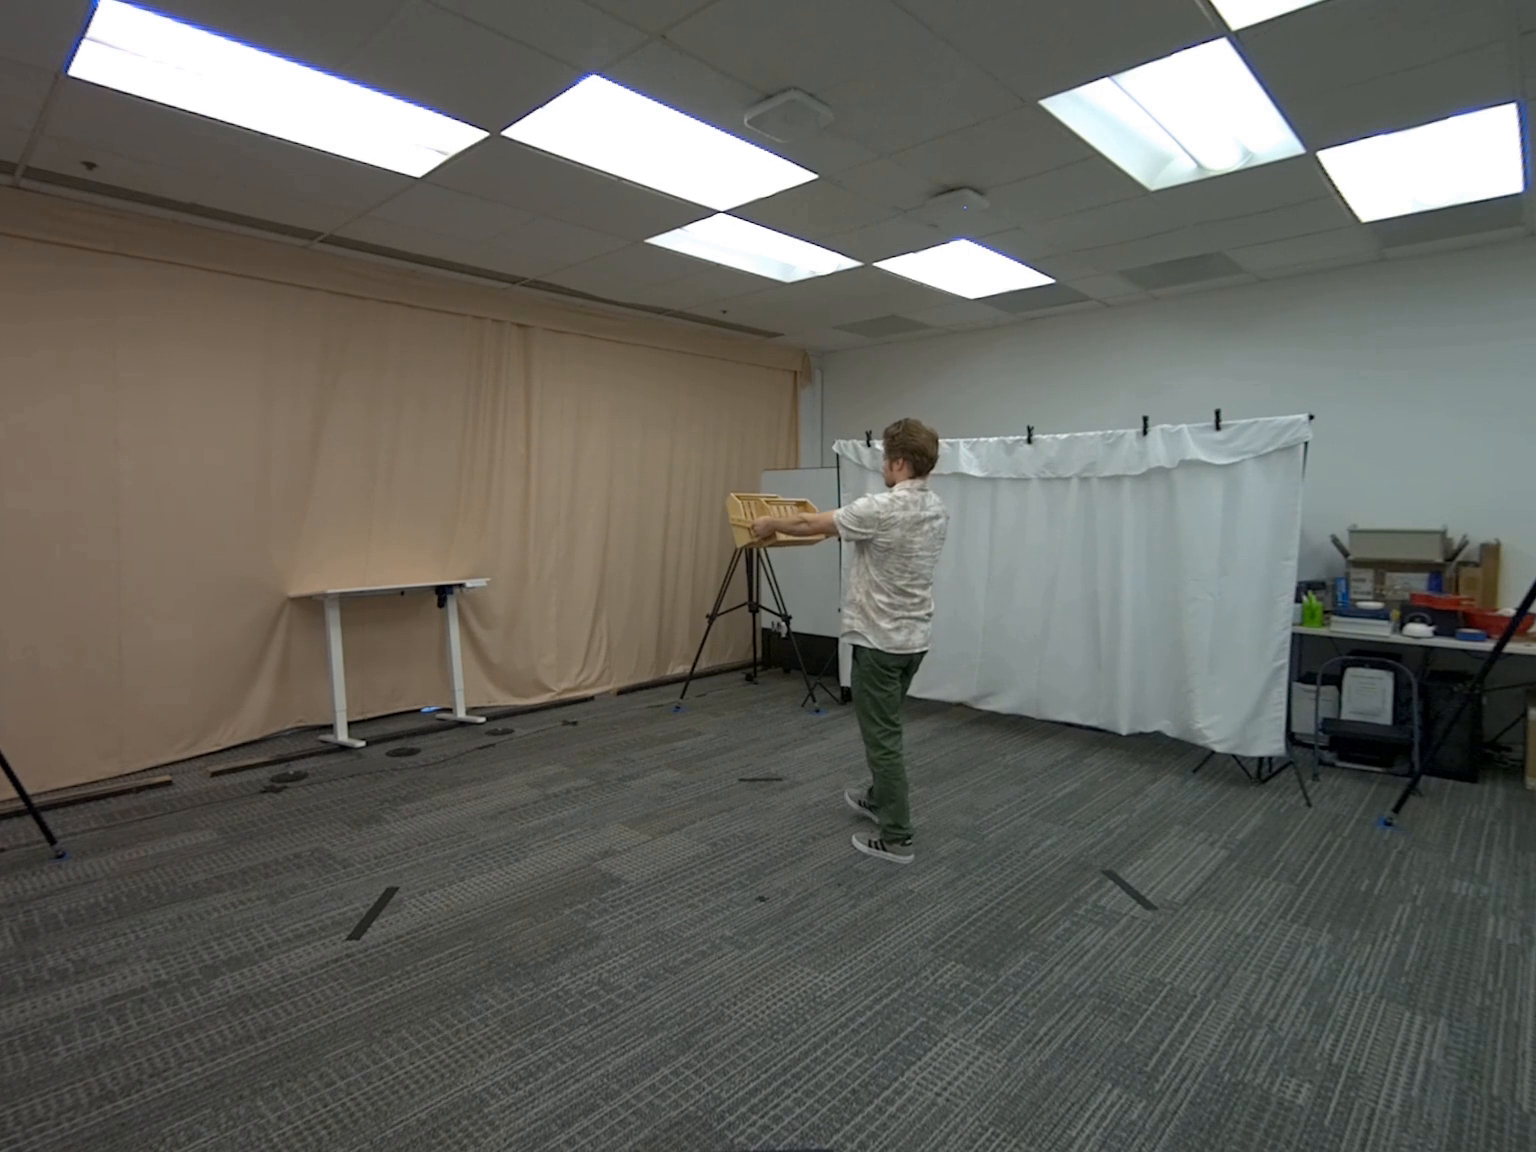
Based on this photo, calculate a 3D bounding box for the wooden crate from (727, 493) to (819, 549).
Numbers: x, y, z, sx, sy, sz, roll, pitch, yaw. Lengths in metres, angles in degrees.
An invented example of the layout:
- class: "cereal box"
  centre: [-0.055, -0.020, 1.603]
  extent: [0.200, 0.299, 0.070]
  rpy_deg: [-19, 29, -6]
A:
- class: "wooden crate"
  centre: [0.035, -0.266, 3.817]
  extent: [0.314, 0.305, 0.279]
  rpy_deg: [-3, -17, -41]
